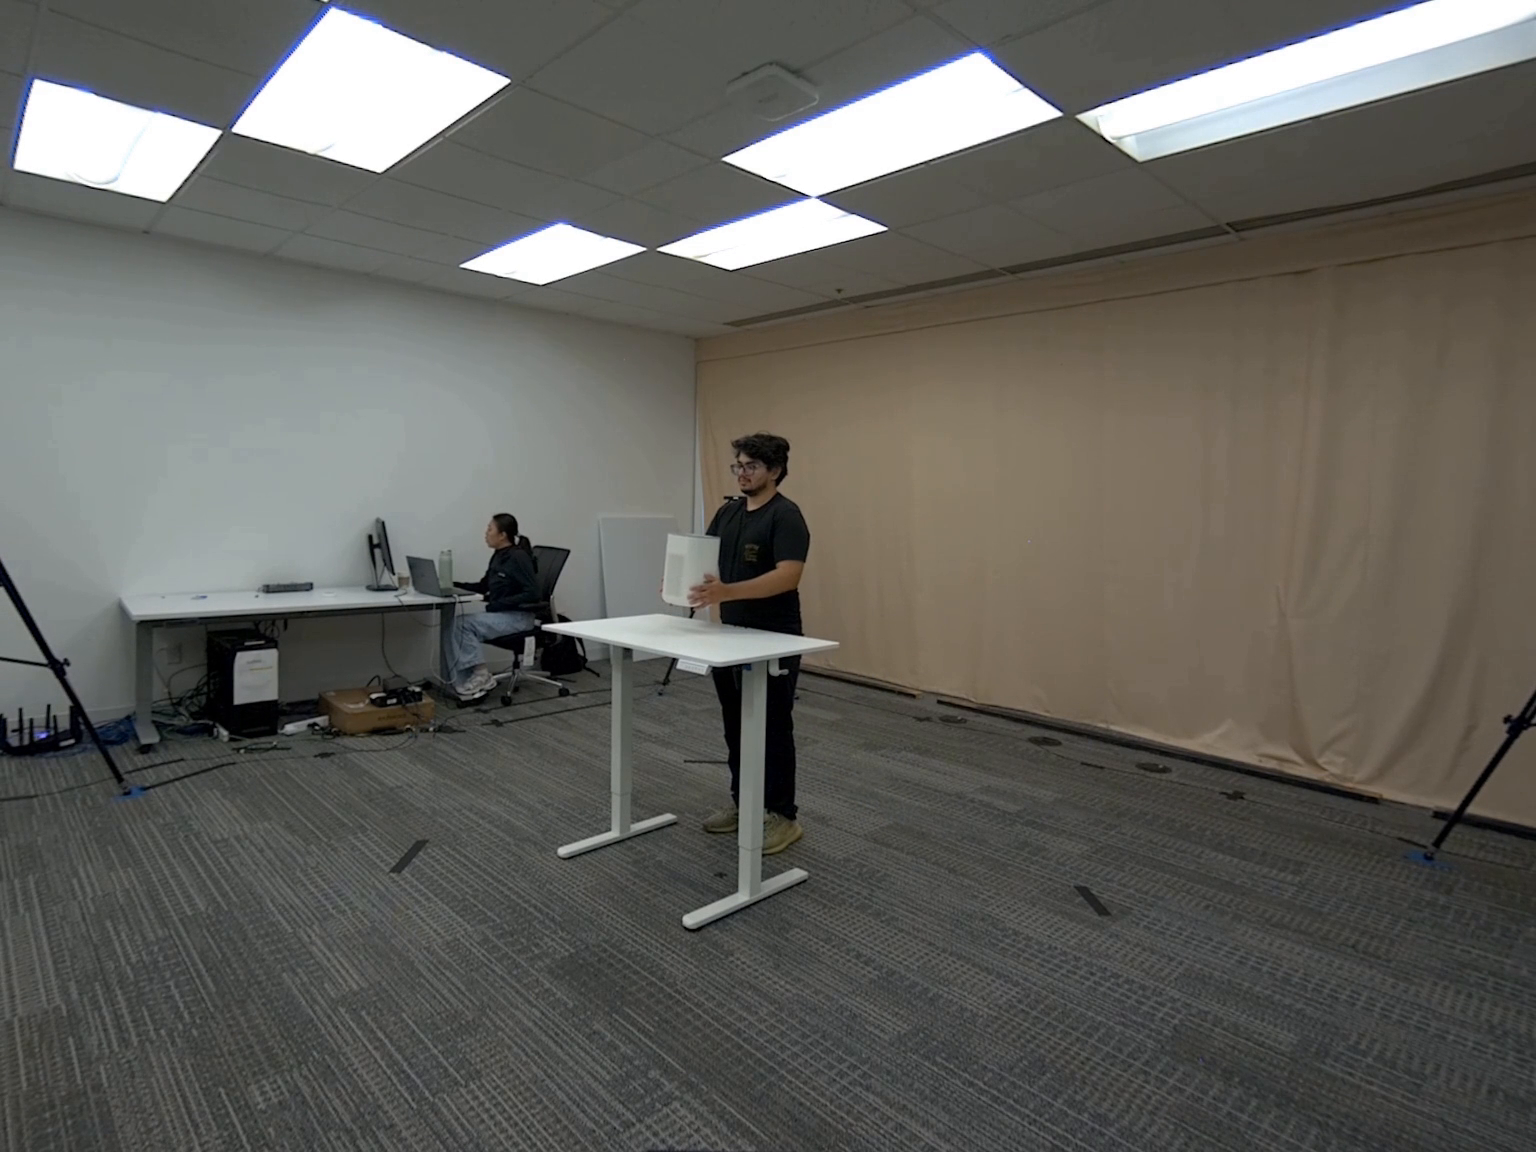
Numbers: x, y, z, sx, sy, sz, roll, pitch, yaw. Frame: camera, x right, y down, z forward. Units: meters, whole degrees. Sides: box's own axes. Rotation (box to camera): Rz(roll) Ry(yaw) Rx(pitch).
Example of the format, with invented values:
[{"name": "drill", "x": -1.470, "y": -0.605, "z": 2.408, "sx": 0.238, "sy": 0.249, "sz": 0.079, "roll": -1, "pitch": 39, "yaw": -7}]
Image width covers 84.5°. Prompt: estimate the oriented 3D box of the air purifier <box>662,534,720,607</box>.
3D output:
[{"name": "air purifier", "x": -0.293, "y": -0.023, "z": 3.182, "sx": 0.176, "sy": 0.265, "sz": 0.167, "roll": 5, "pitch": 2, "yaw": 41}]
